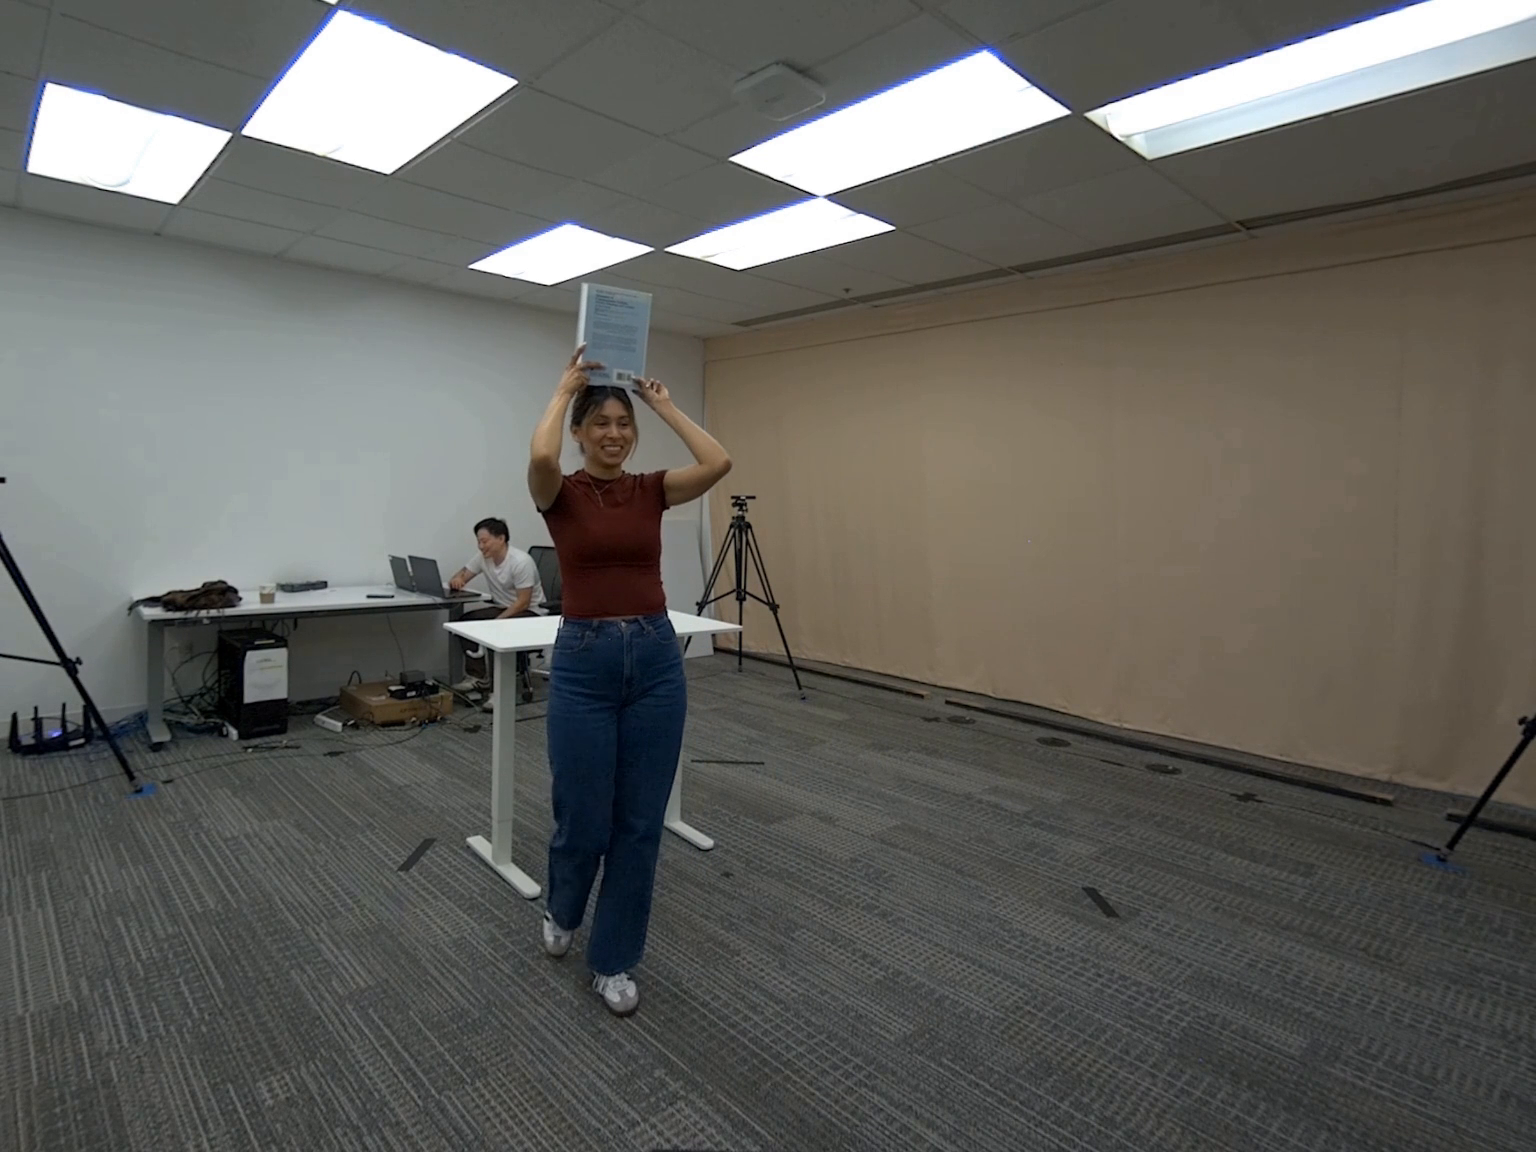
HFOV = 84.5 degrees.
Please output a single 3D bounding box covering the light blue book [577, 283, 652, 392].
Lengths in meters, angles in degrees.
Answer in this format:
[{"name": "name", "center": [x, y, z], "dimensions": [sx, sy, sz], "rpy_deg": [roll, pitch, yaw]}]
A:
[{"name": "light blue book", "center": [-0.430, -0.647, 2.283], "dimensions": [0.187, 0.259, 0.061], "rpy_deg": [0, 13, -33]}]
